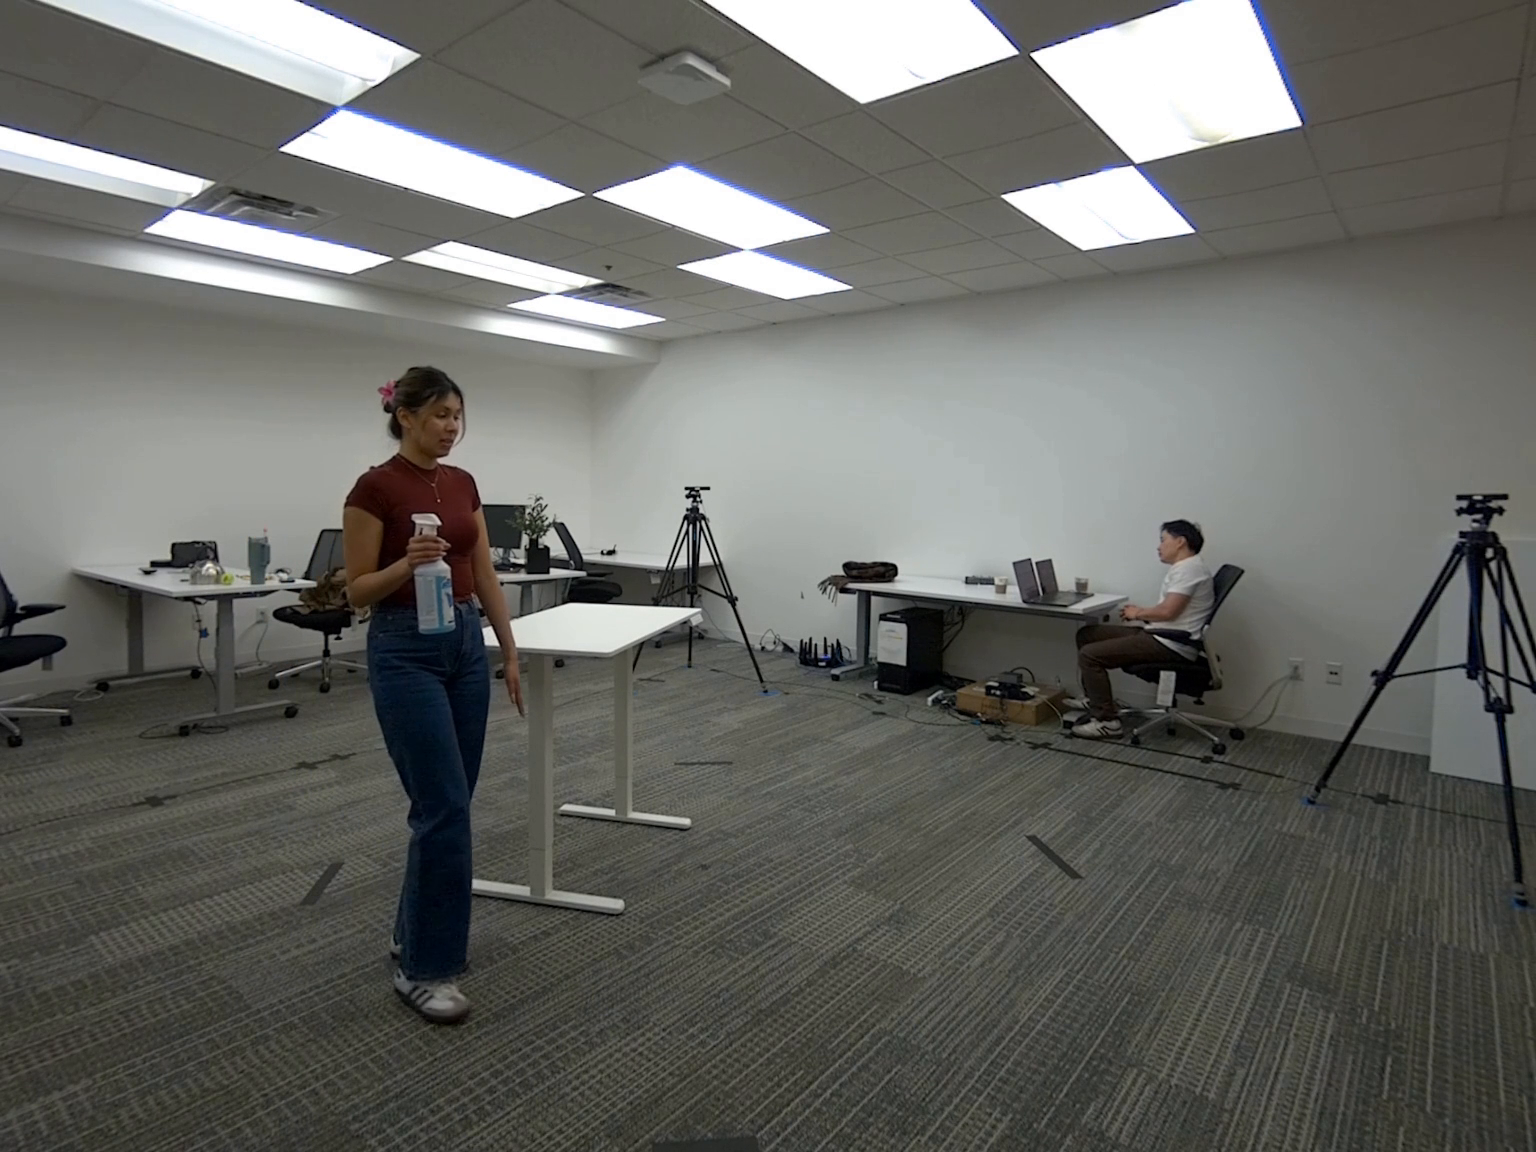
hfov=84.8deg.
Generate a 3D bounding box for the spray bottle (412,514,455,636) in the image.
[{"bbox_3d":[-0.844,-0.007,2.112,0.084,0.297,0.093,-6,2,-38],"label":"spray bottle"}]
